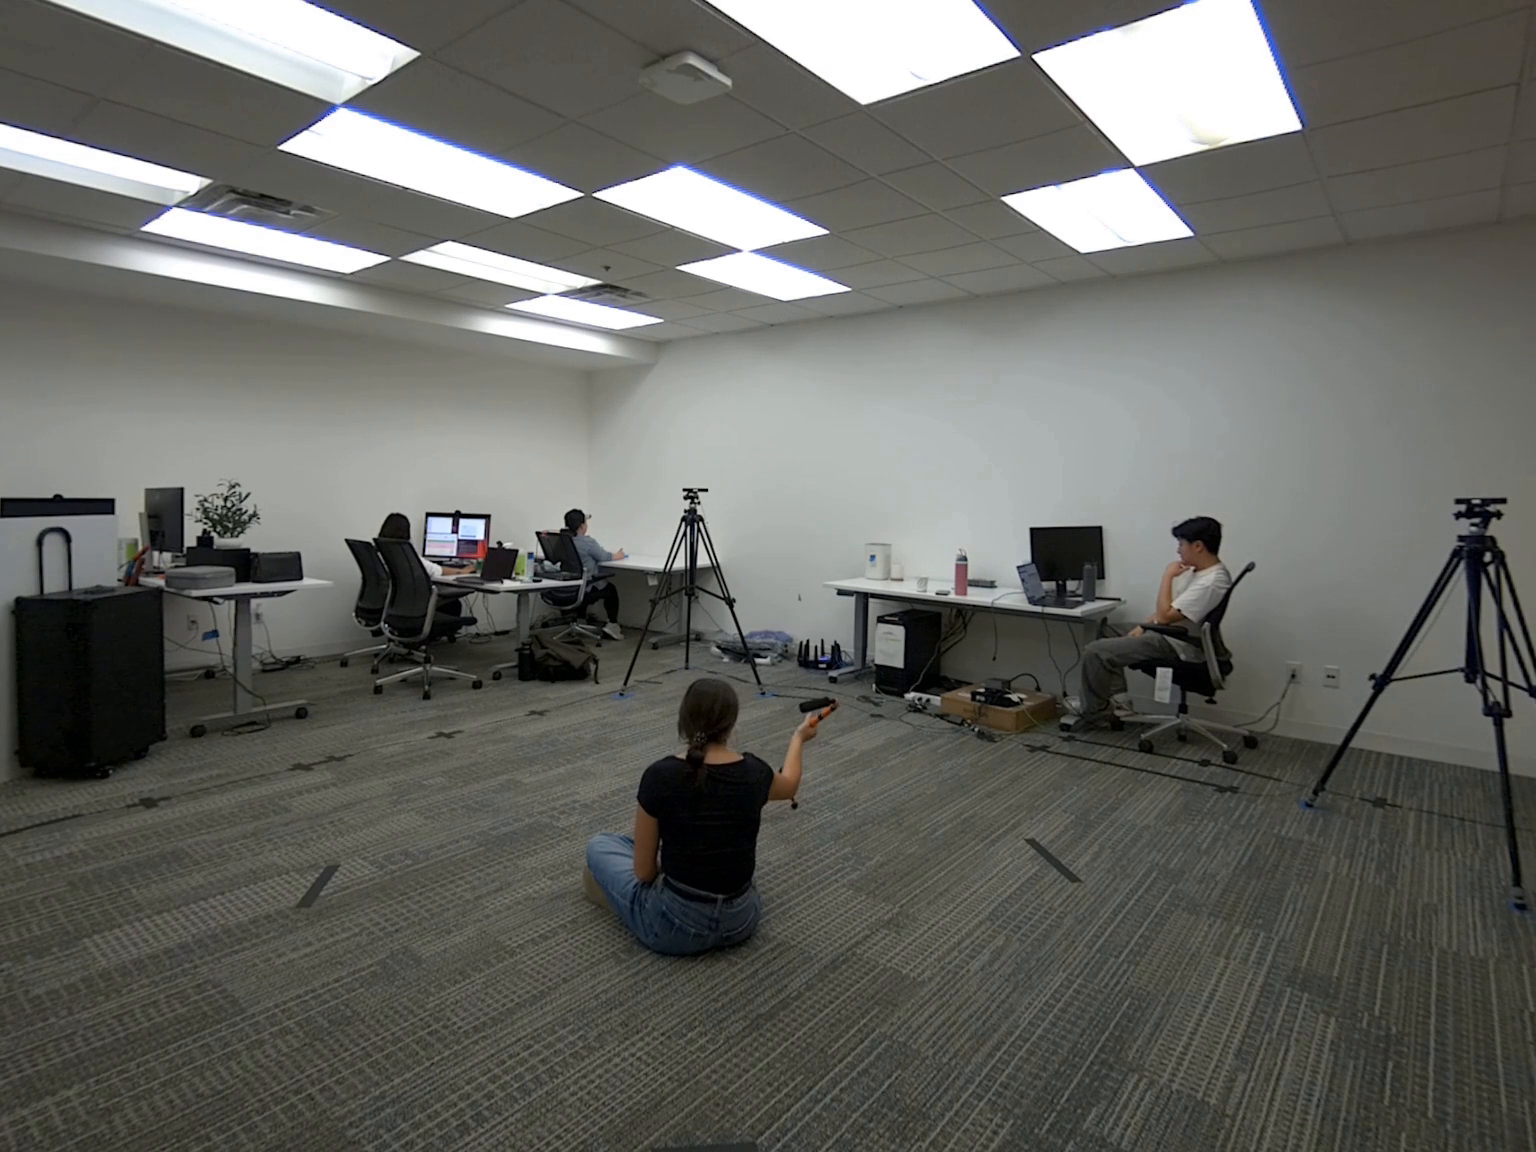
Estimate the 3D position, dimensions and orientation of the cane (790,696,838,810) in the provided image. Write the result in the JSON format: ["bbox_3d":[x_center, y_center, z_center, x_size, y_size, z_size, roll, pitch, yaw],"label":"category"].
[{"bbox_3d":[0.113,0.686,3.308,0.203,0.157,0.892,-7,-33,-19],"label":"cane"}]
